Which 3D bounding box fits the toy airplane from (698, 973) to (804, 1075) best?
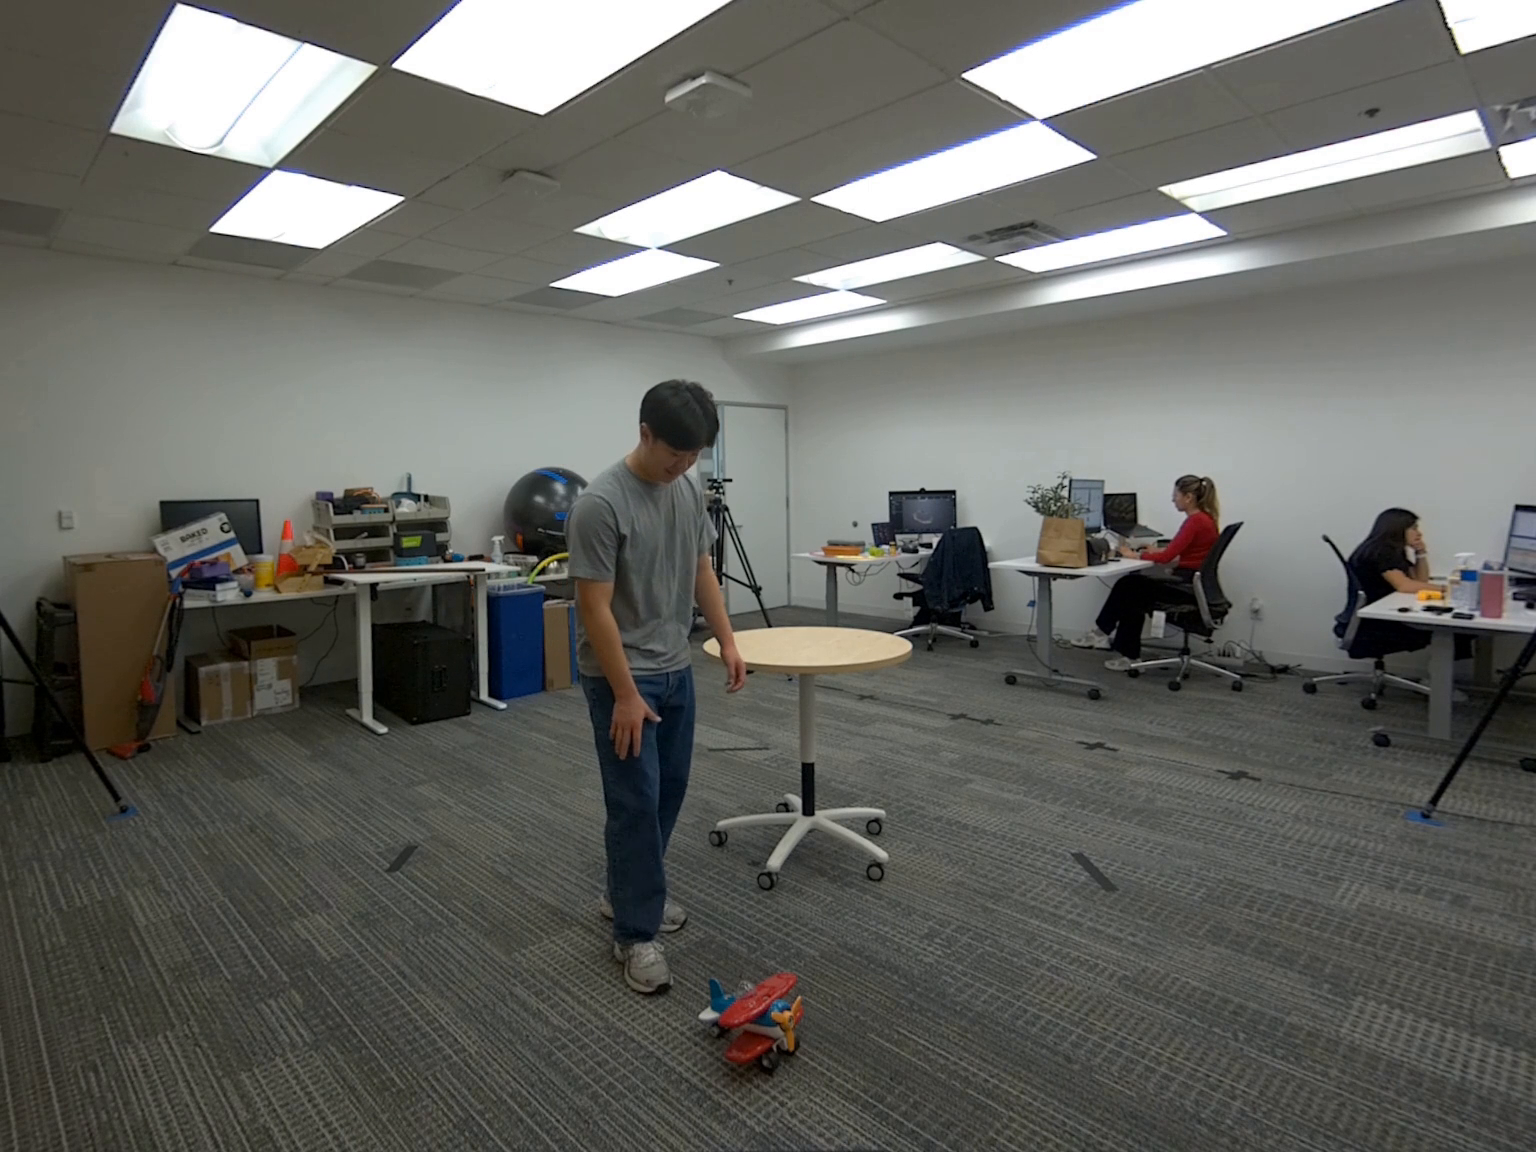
[{"bbox_3d":[-0.041,1.092,2.083,0.262,0.156,0.249,1,6,11],"label":"toy airplane"}]
